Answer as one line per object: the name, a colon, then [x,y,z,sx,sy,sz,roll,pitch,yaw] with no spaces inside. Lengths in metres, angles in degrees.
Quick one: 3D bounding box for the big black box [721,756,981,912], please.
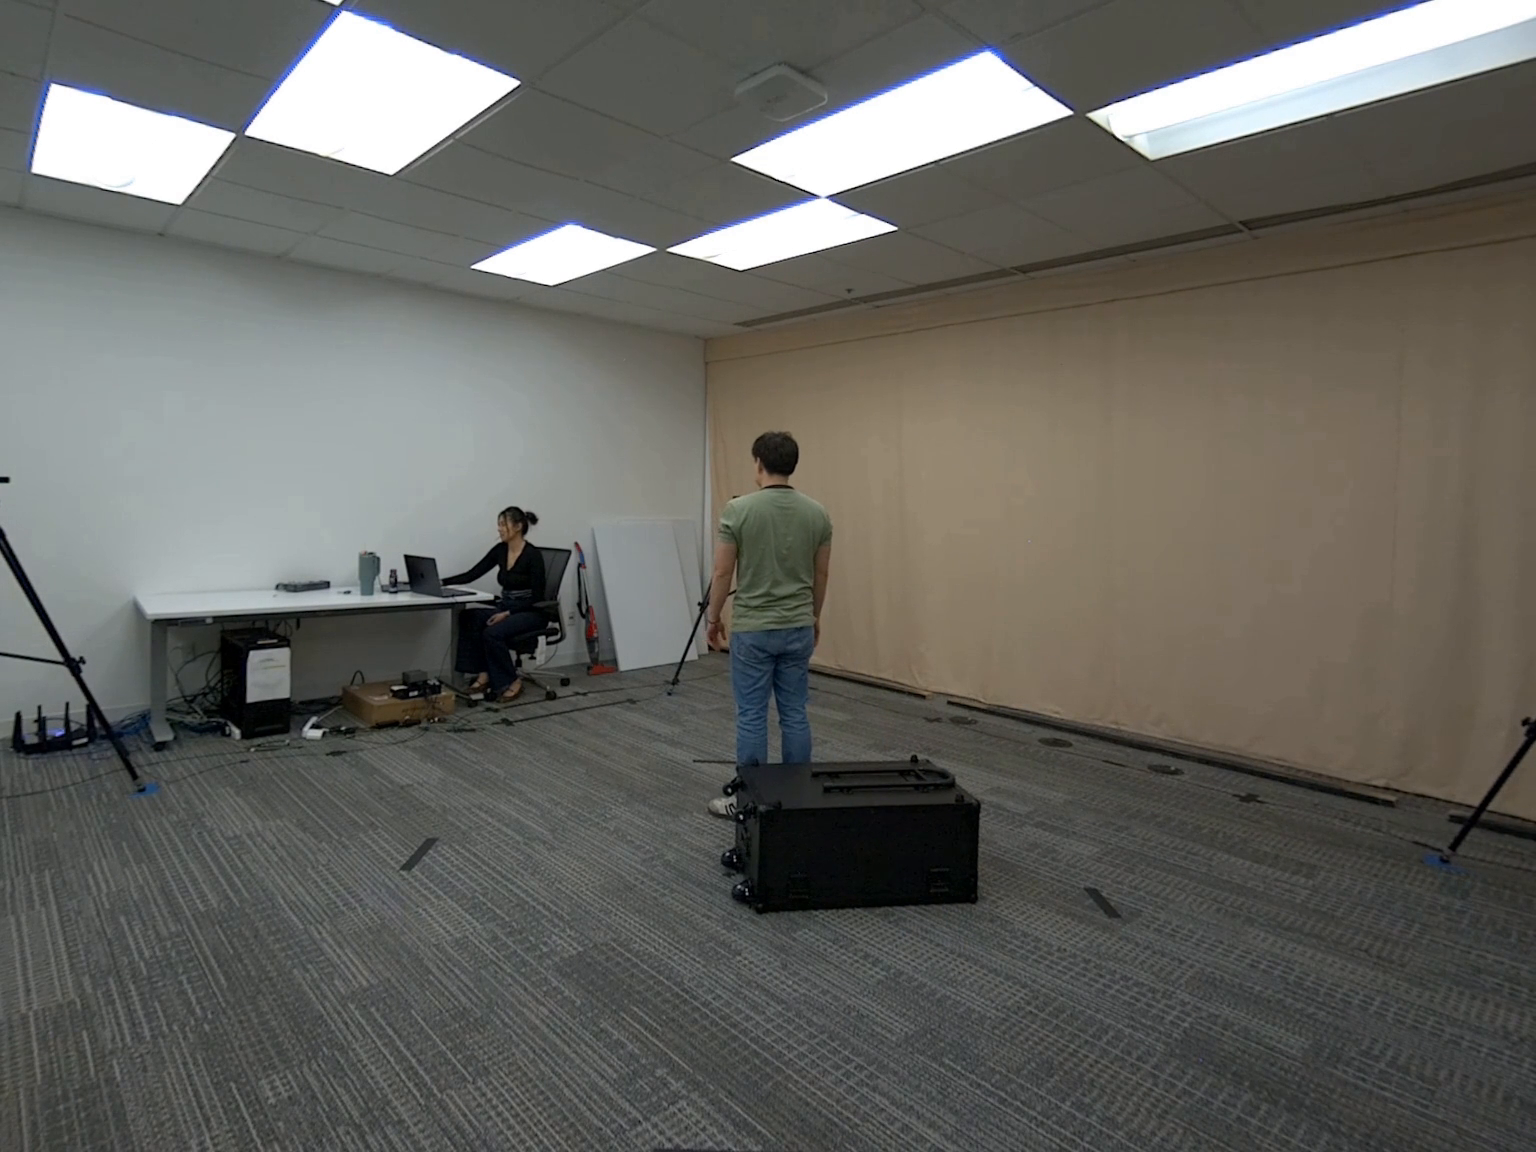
big black box: [0.268,0.922,3.086,0.855,0.395,0.527,-1,5,-10]
